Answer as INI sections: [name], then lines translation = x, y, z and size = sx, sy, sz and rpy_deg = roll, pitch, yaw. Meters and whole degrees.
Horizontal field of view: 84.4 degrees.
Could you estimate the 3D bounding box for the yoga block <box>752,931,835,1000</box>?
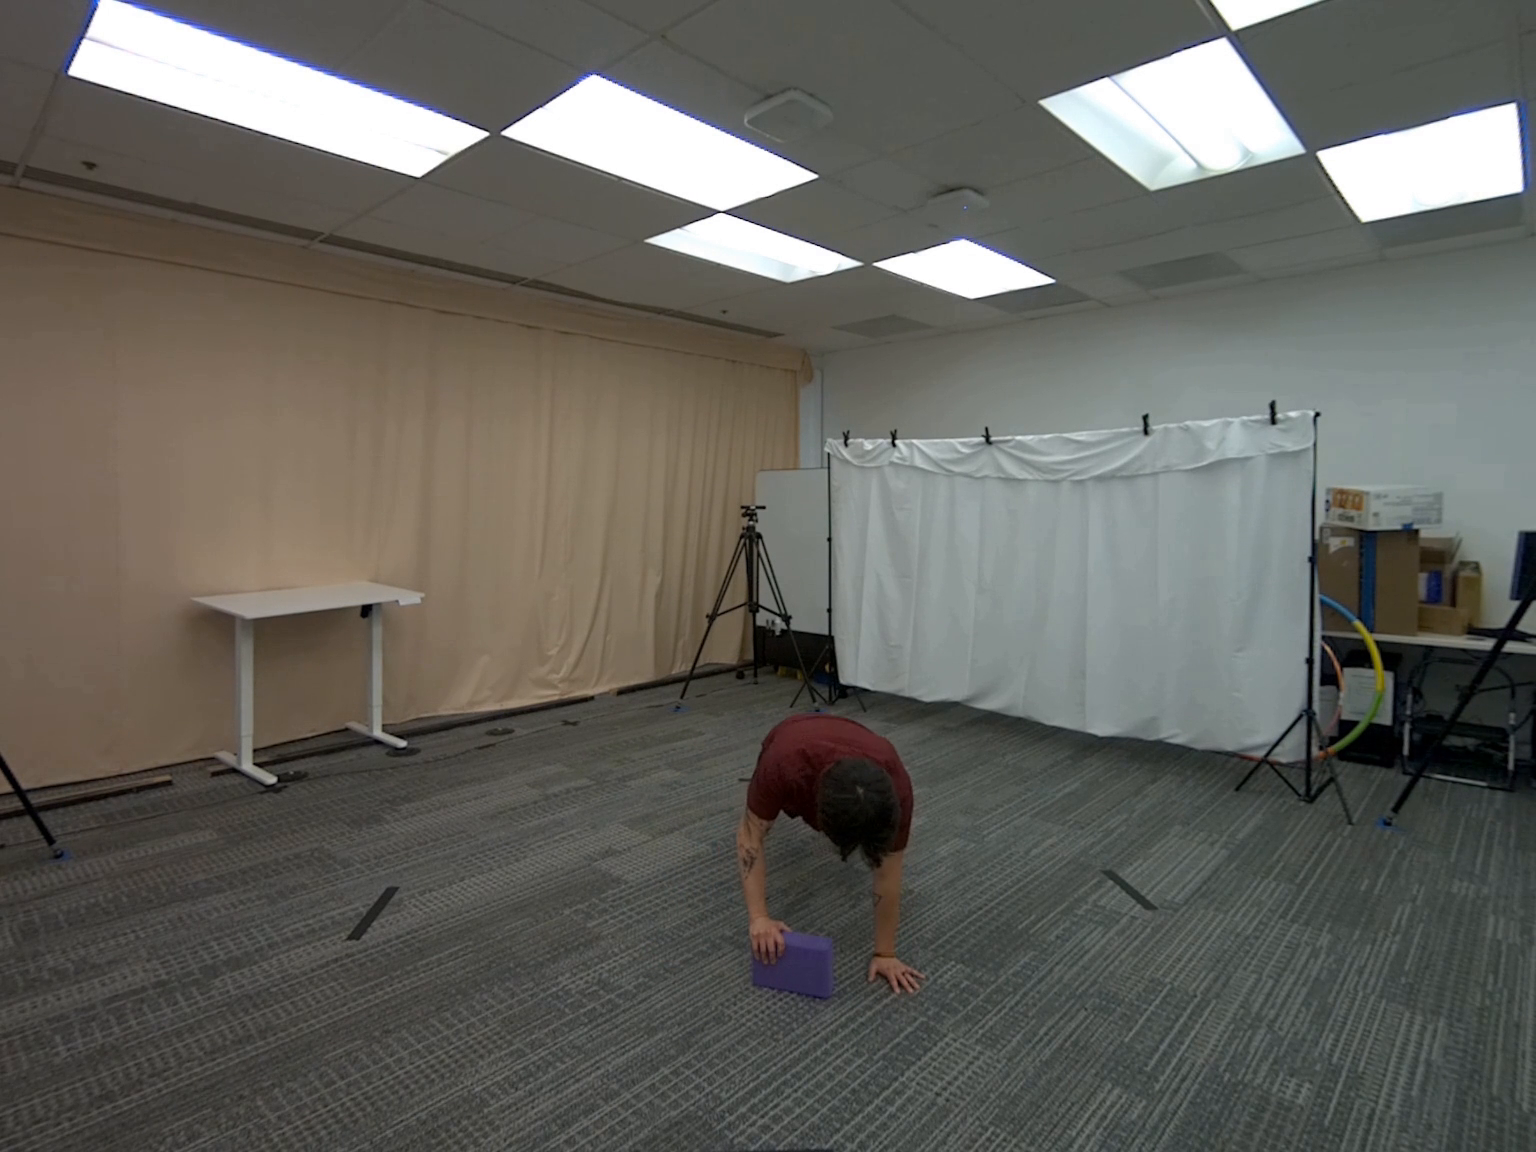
[yoga block]
translation = 0.077, 1.103, 2.445
size = 0.235, 0.148, 0.075
rpy_deg = 3, 5, 22
